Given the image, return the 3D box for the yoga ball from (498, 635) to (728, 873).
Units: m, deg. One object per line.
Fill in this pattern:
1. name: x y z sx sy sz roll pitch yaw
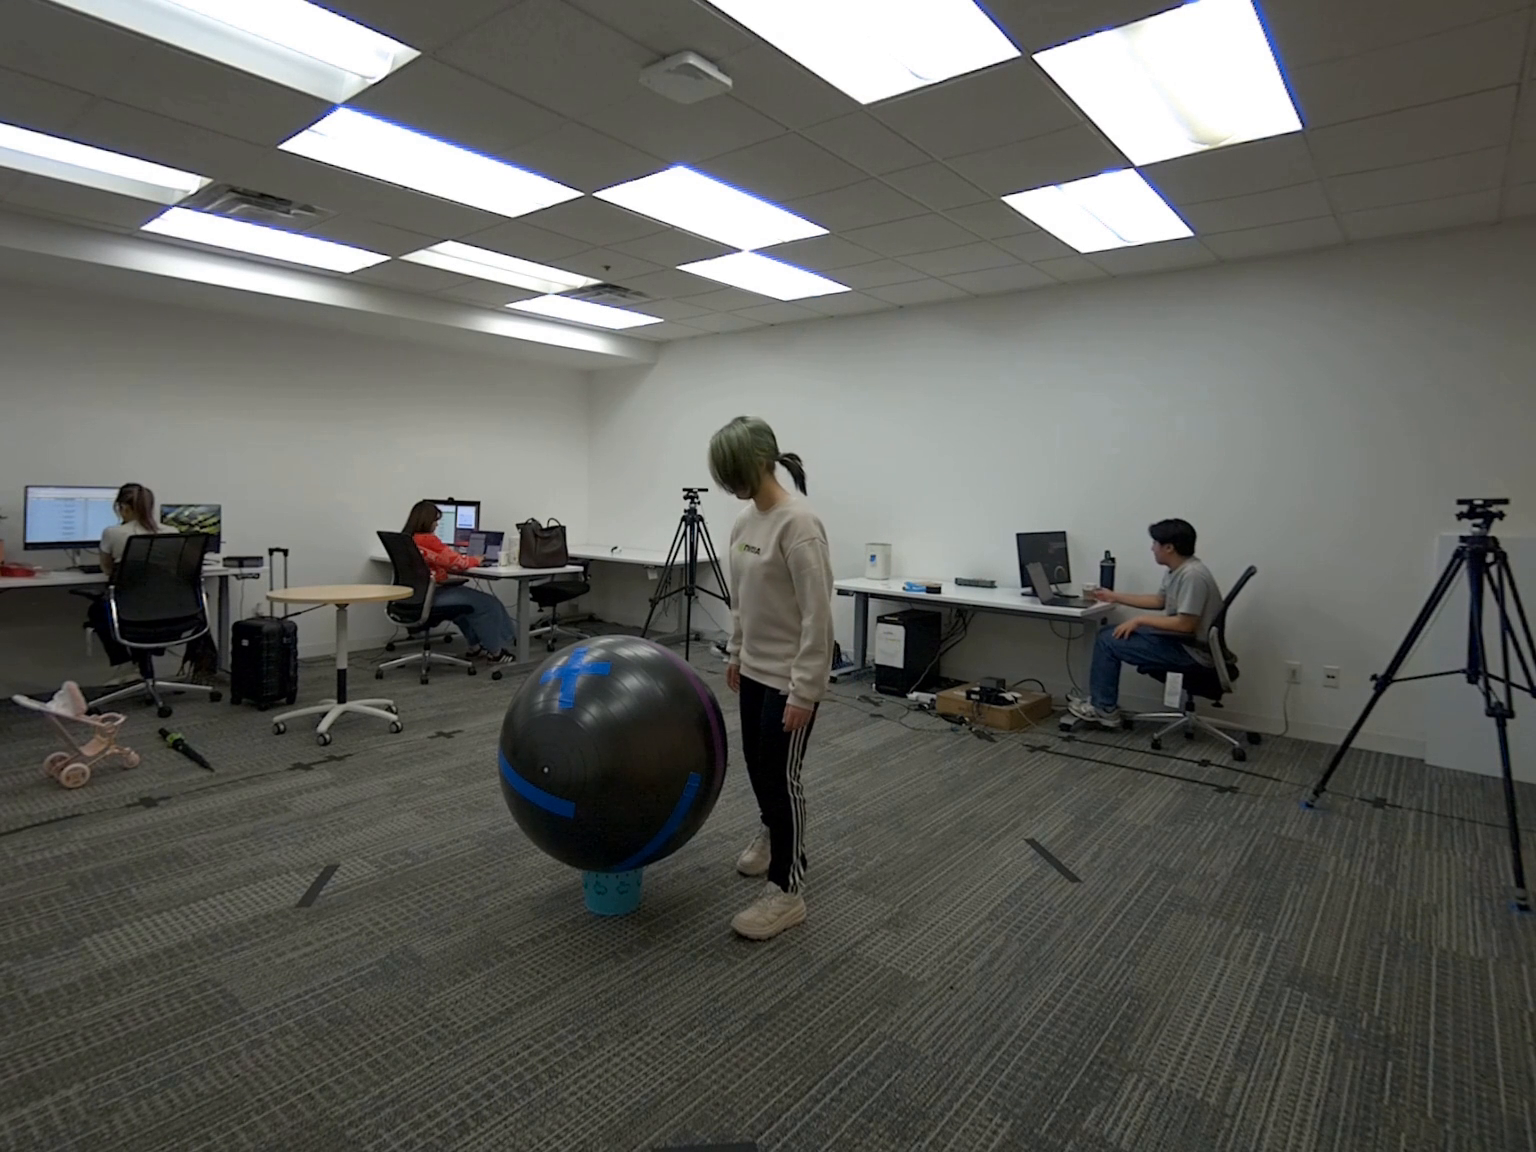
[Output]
1. yoga ball: -0.520 0.580 2.825 0.757 0.756 0.761 1 4 -2
